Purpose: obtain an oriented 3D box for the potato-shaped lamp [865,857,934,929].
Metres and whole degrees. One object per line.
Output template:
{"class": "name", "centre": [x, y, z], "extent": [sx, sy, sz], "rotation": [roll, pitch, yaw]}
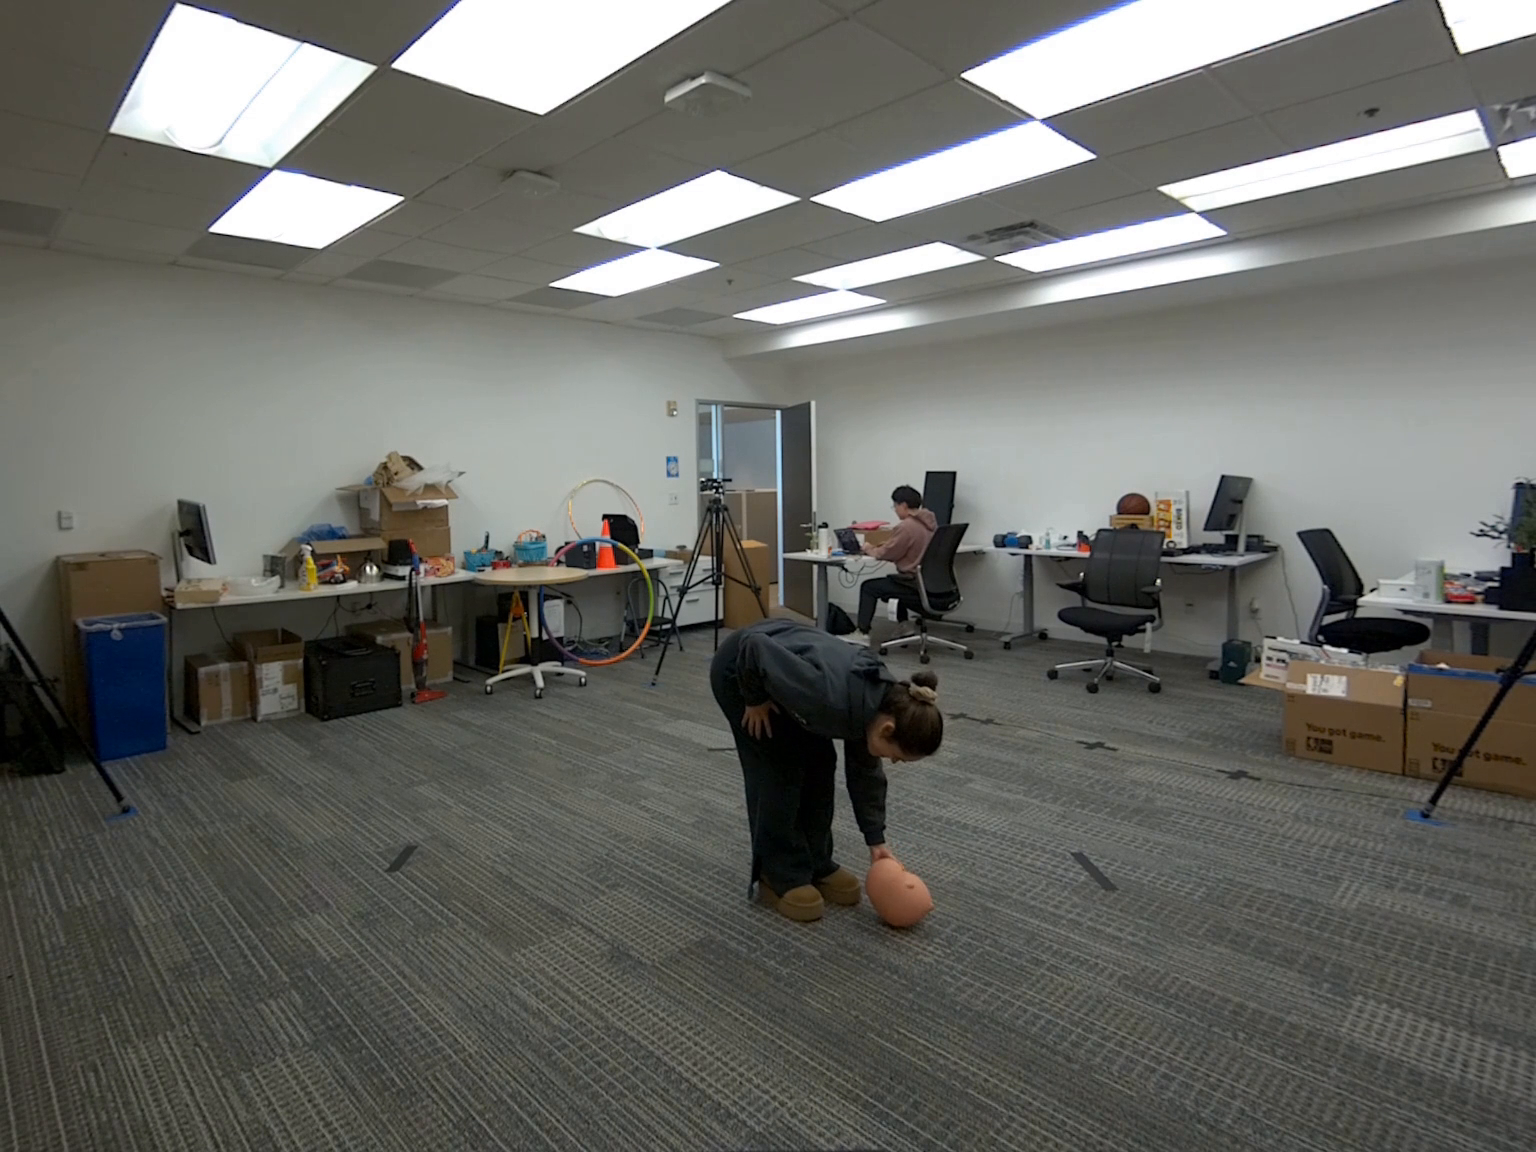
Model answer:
{"class": "potato-shaped lamp", "centre": [0.408, 0.979, 2.659], "extent": [0.171, 0.199, 0.164], "rotation": [-36, -3, -3]}
